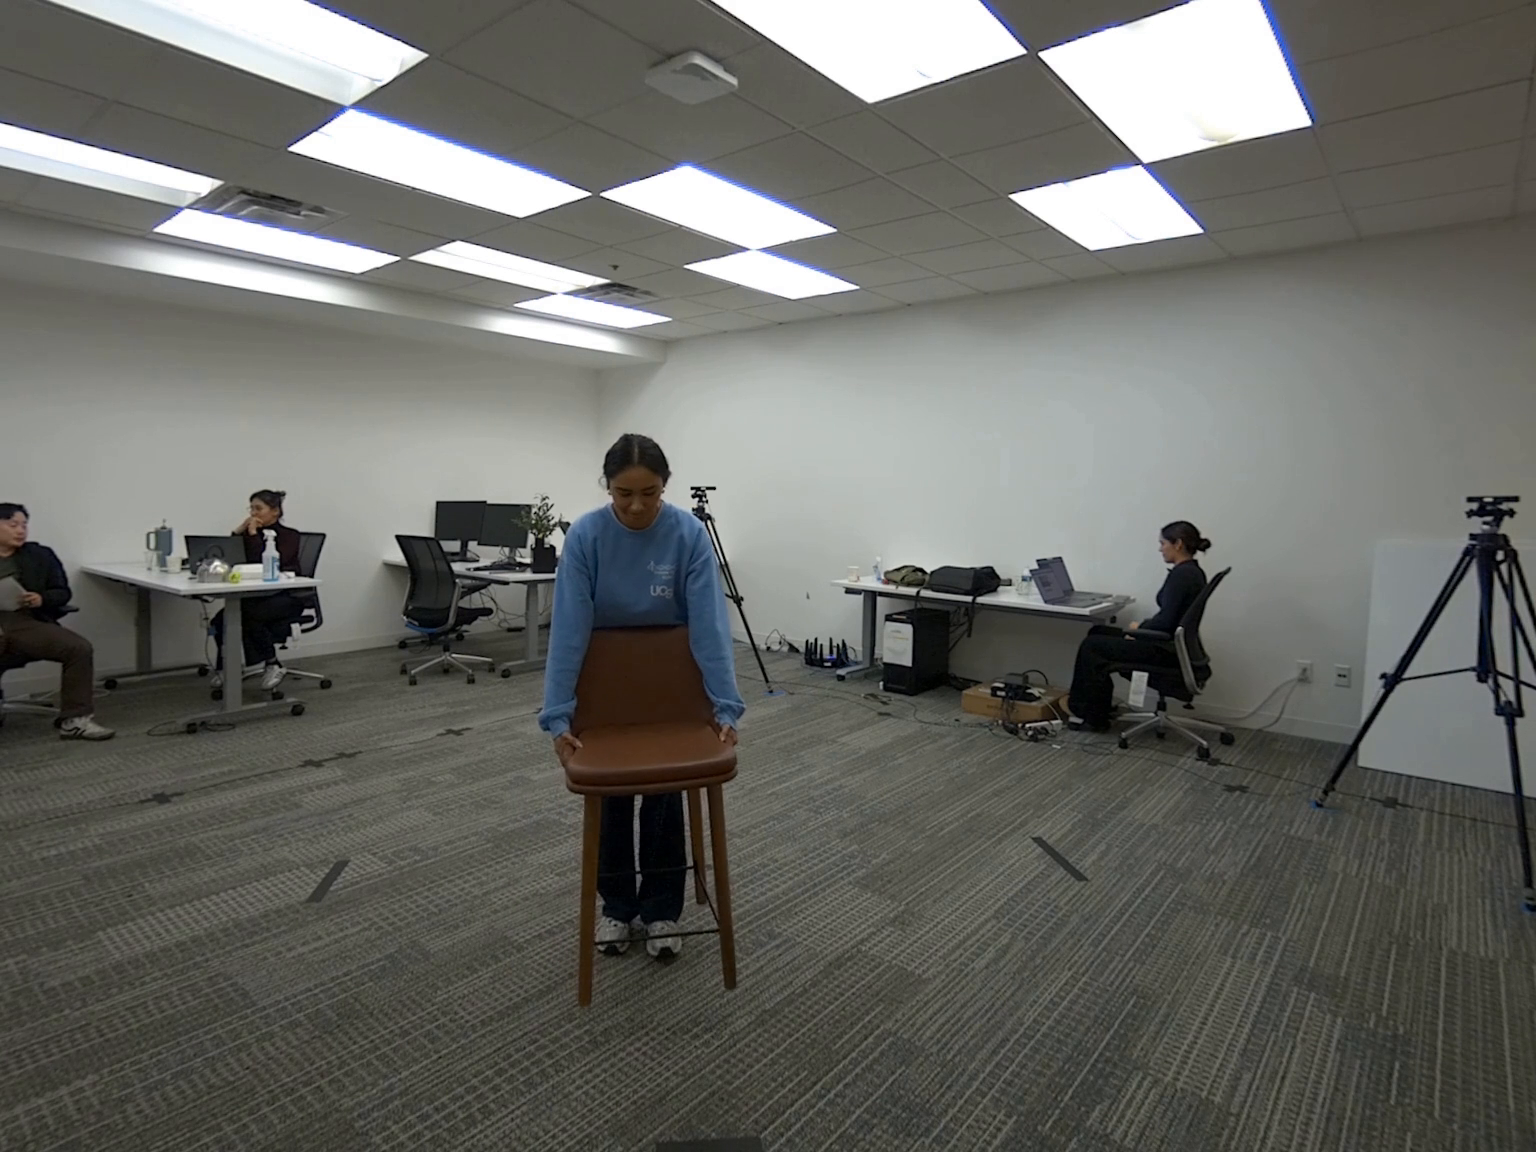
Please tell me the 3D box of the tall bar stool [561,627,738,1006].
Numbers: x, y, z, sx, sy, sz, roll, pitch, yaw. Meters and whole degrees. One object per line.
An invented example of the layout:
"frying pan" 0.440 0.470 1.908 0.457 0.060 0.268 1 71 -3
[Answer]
"tall bar stool" -0.334 0.616 2.357 0.452 0.886 0.474 -1 5 -10
